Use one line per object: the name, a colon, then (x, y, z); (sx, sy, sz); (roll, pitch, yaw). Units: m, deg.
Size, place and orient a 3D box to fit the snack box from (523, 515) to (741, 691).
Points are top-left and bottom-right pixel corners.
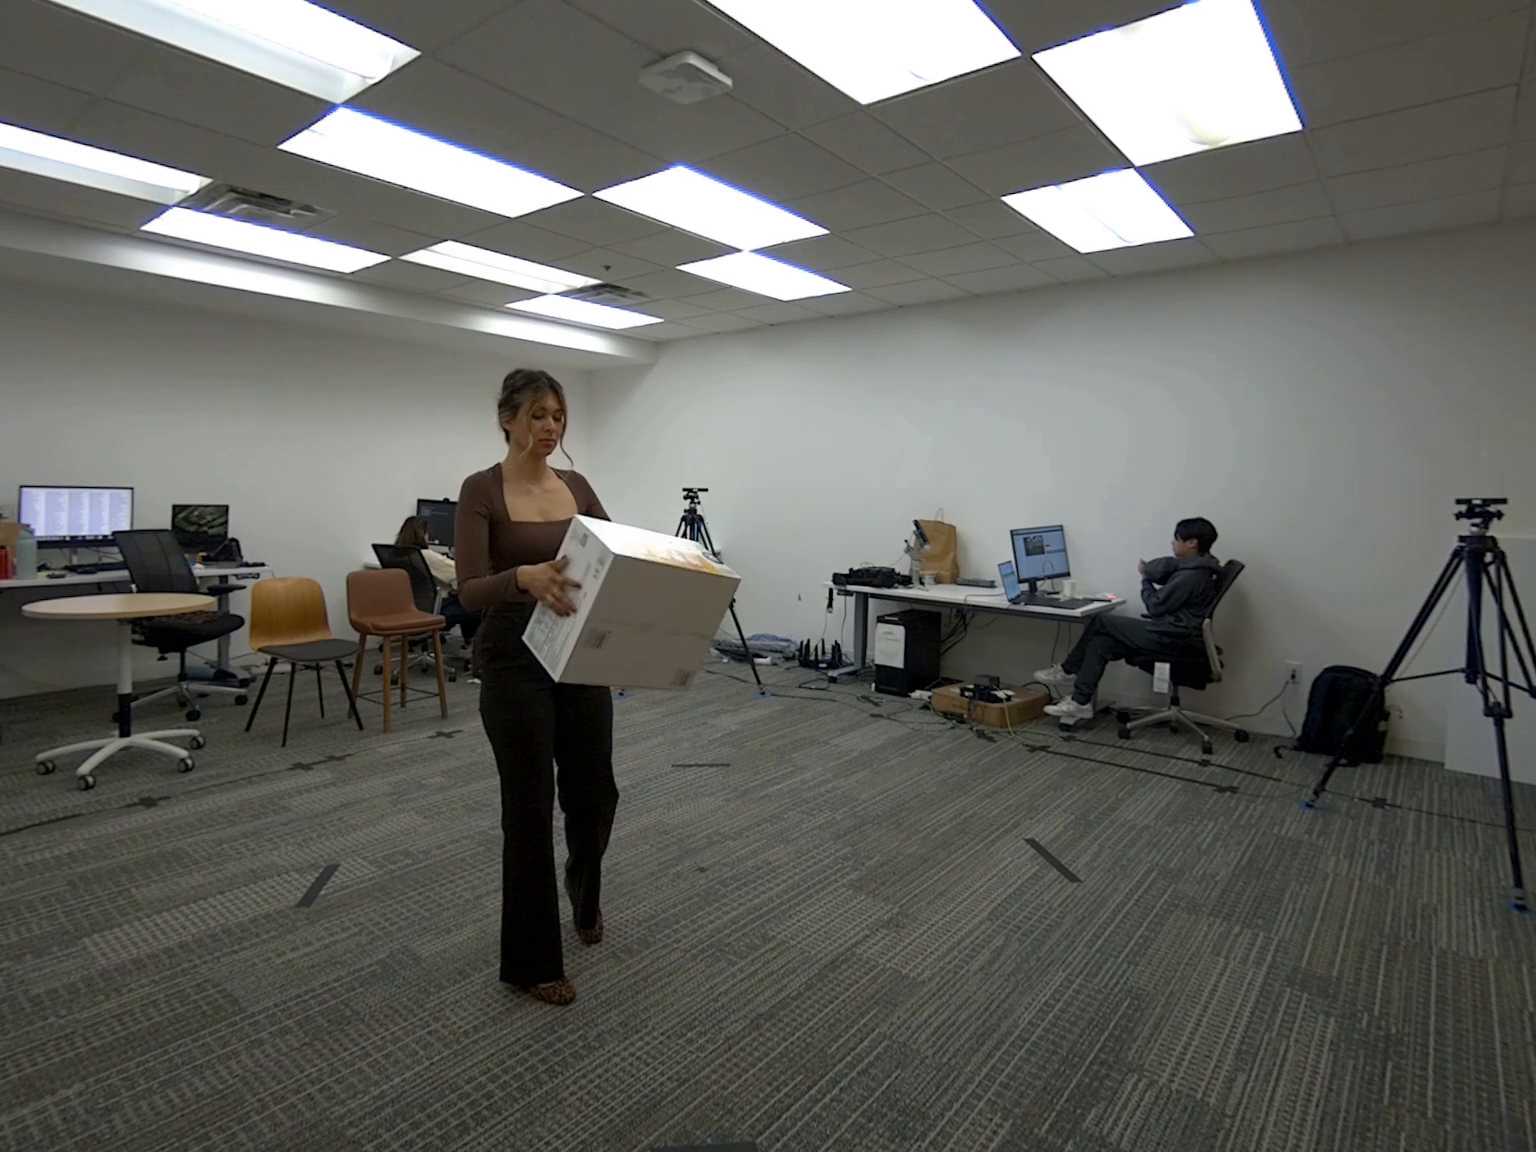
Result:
snack box: (-0.337, 0.073, 2.093); (0.390, 0.338, 0.214); (13, 17, -45)
